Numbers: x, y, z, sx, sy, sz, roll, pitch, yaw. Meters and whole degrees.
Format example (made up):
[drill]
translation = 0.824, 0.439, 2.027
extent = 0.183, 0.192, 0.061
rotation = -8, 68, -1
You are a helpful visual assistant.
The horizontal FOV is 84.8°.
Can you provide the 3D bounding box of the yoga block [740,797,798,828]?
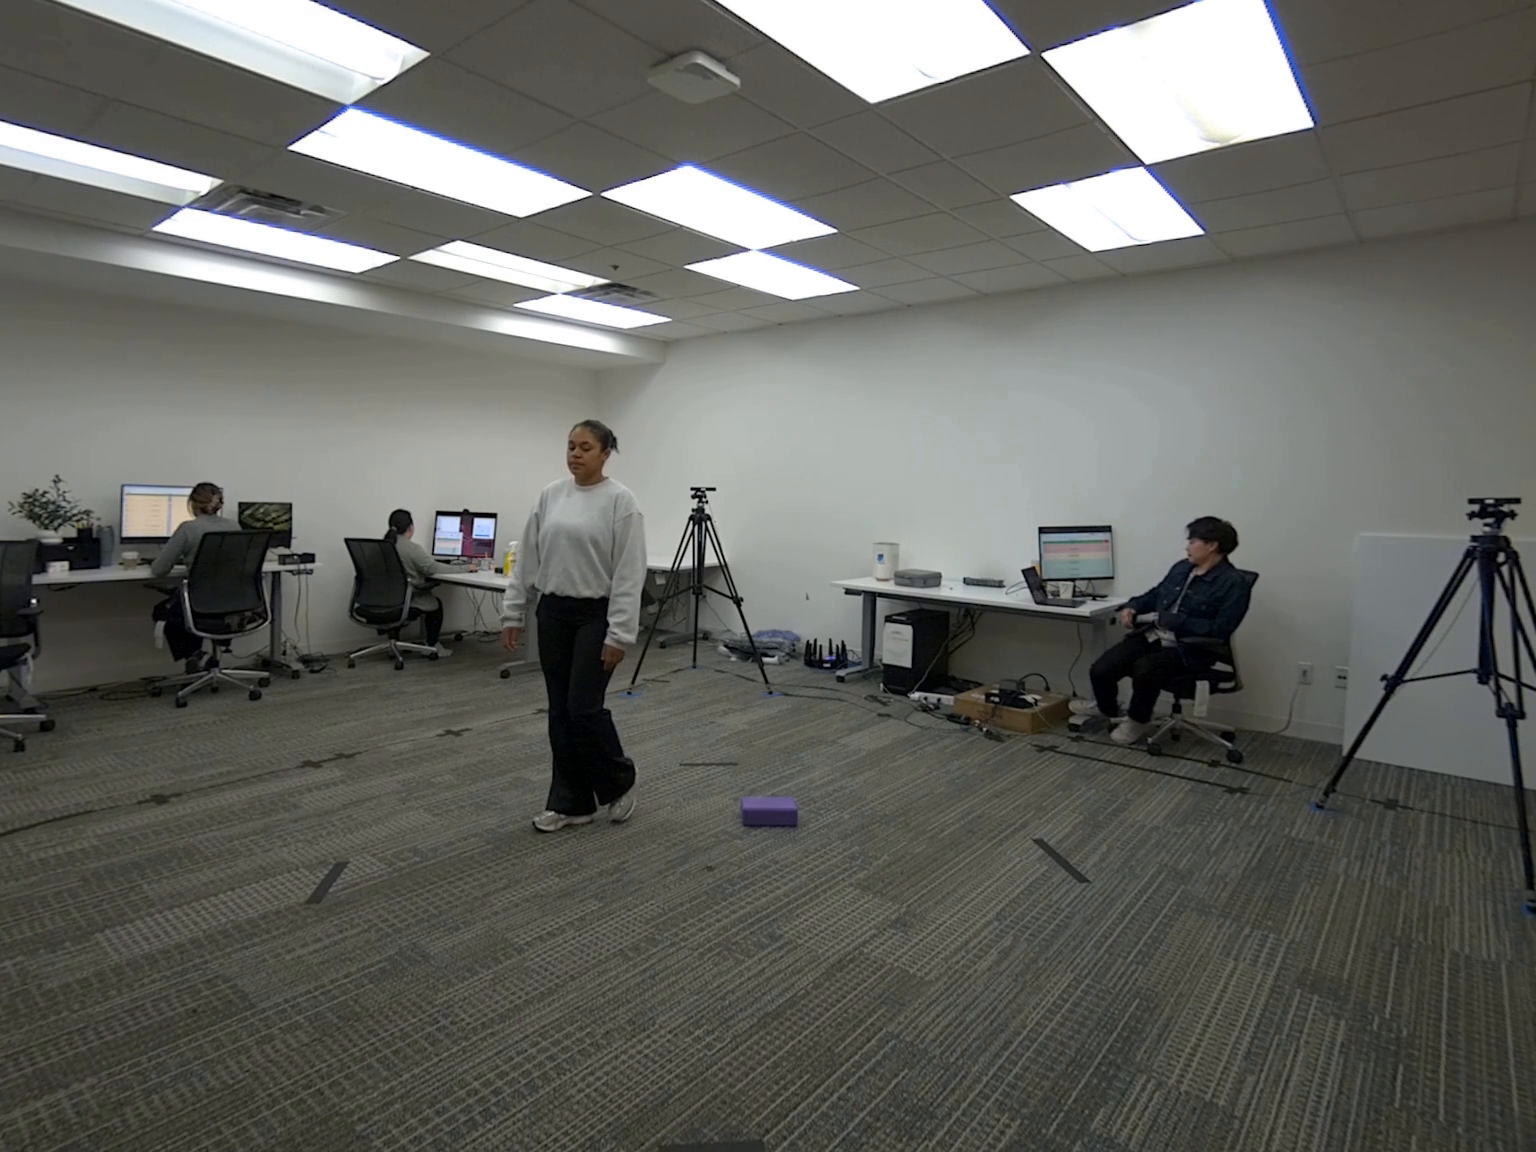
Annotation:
[yoga block]
translation = -0.005, 0.987, 3.576
extent = 0.229, 0.076, 0.150
rotation = 1, 7, -2
